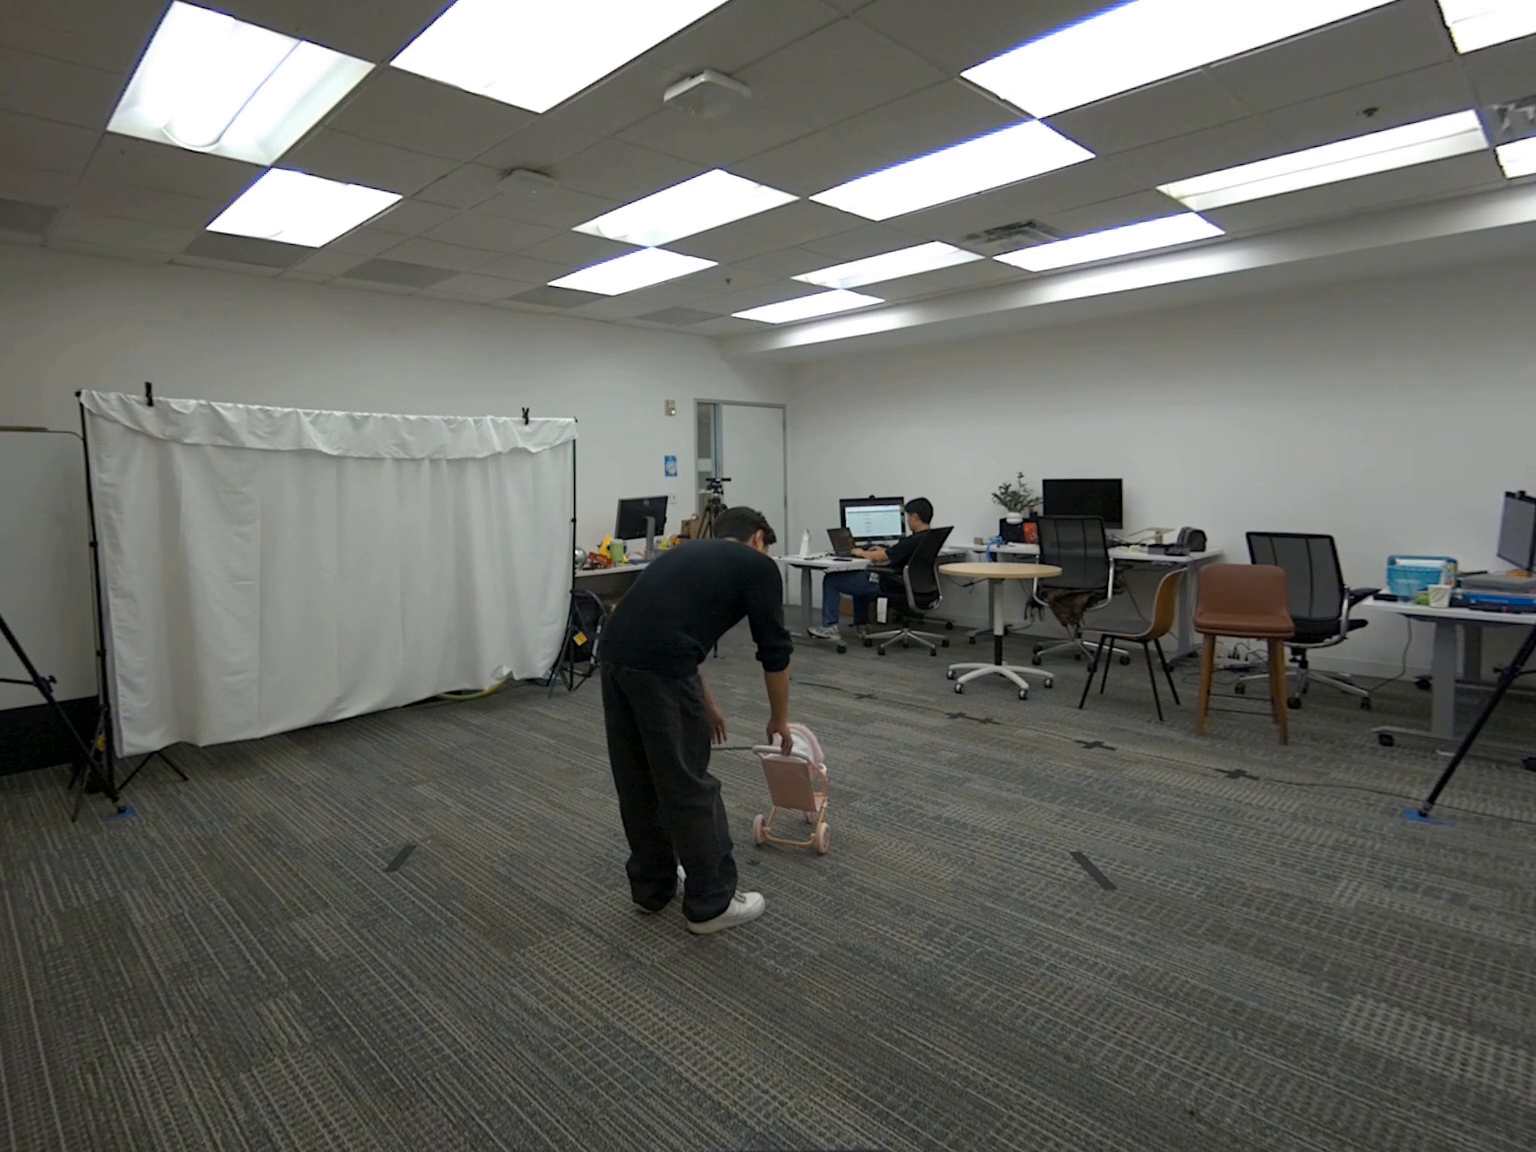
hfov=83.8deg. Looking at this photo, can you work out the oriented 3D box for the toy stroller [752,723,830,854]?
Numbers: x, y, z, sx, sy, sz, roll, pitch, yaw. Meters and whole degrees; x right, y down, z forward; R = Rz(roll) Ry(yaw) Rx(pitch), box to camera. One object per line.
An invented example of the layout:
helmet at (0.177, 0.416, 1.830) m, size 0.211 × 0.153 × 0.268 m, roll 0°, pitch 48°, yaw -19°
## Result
toy stroller at (0.109, 0.798, 3.273) m, size 0.288 × 0.525 × 0.340 m, roll 2°, pitch 21°, yaw 23°
